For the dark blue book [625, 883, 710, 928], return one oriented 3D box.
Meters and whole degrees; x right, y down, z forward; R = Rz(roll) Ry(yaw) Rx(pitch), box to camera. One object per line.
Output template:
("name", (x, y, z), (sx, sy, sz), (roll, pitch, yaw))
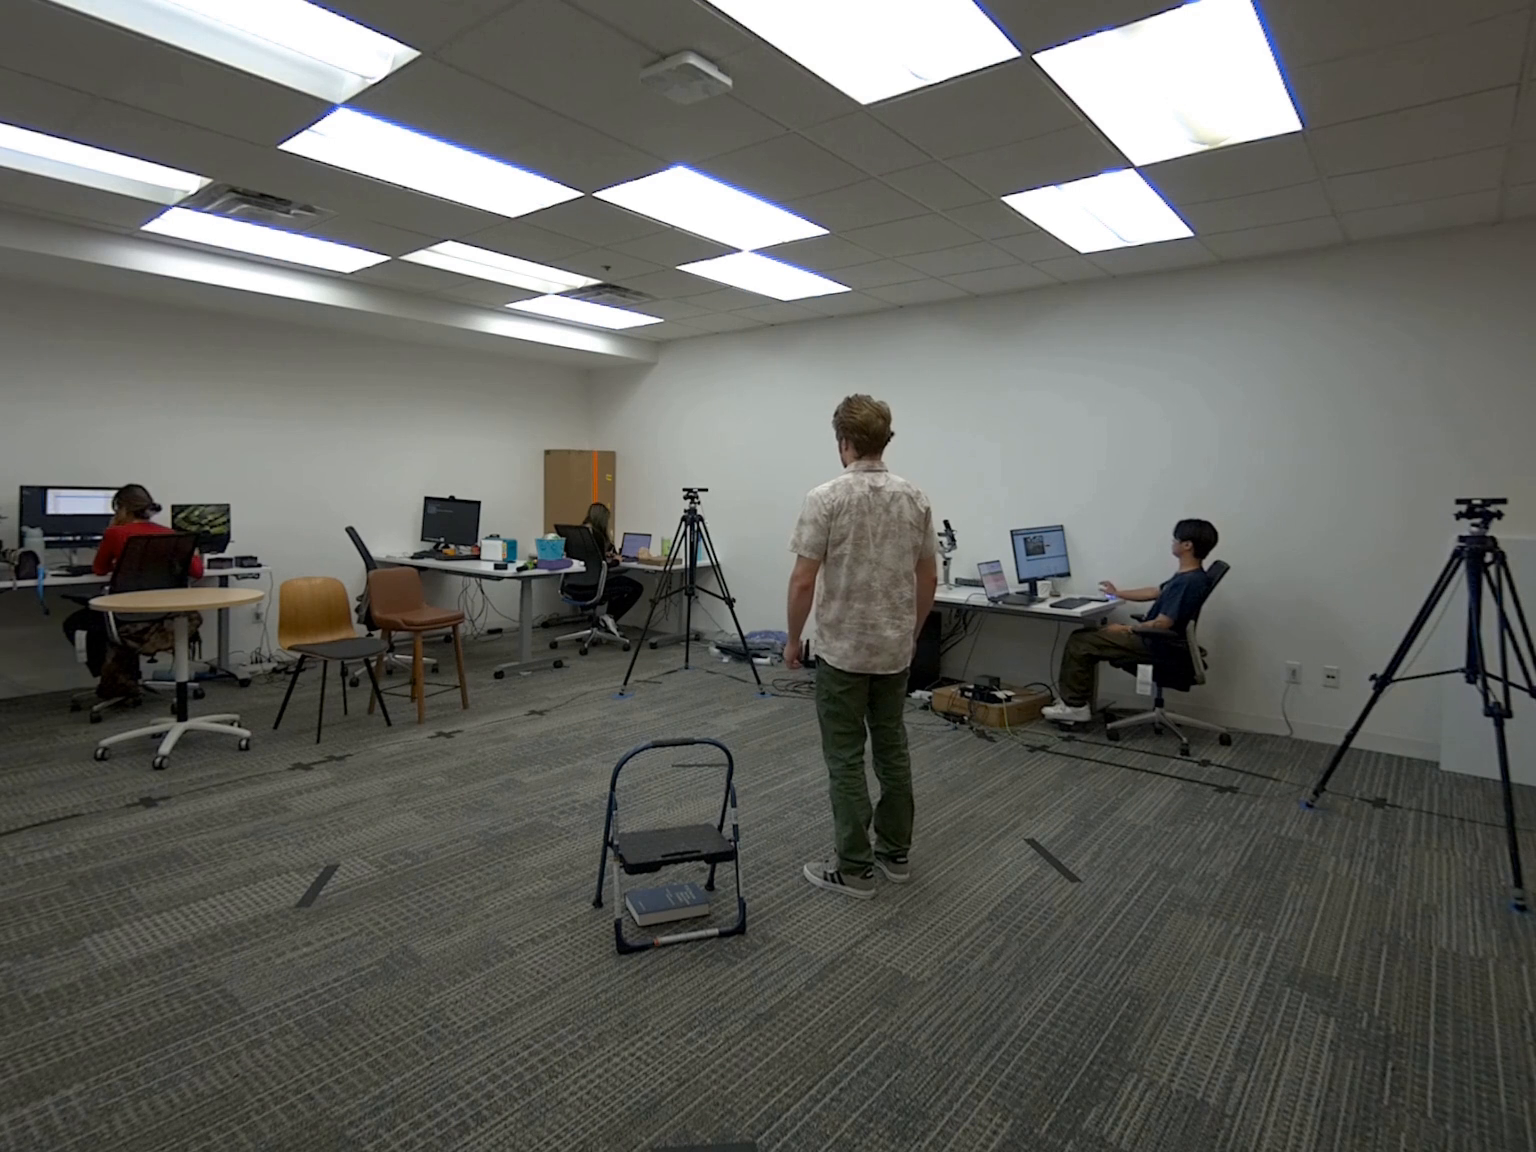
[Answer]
("dark blue book", (-0.349, 1.077, 2.786), (0.239, 0.045, 0.168), (0, 5, -23))
